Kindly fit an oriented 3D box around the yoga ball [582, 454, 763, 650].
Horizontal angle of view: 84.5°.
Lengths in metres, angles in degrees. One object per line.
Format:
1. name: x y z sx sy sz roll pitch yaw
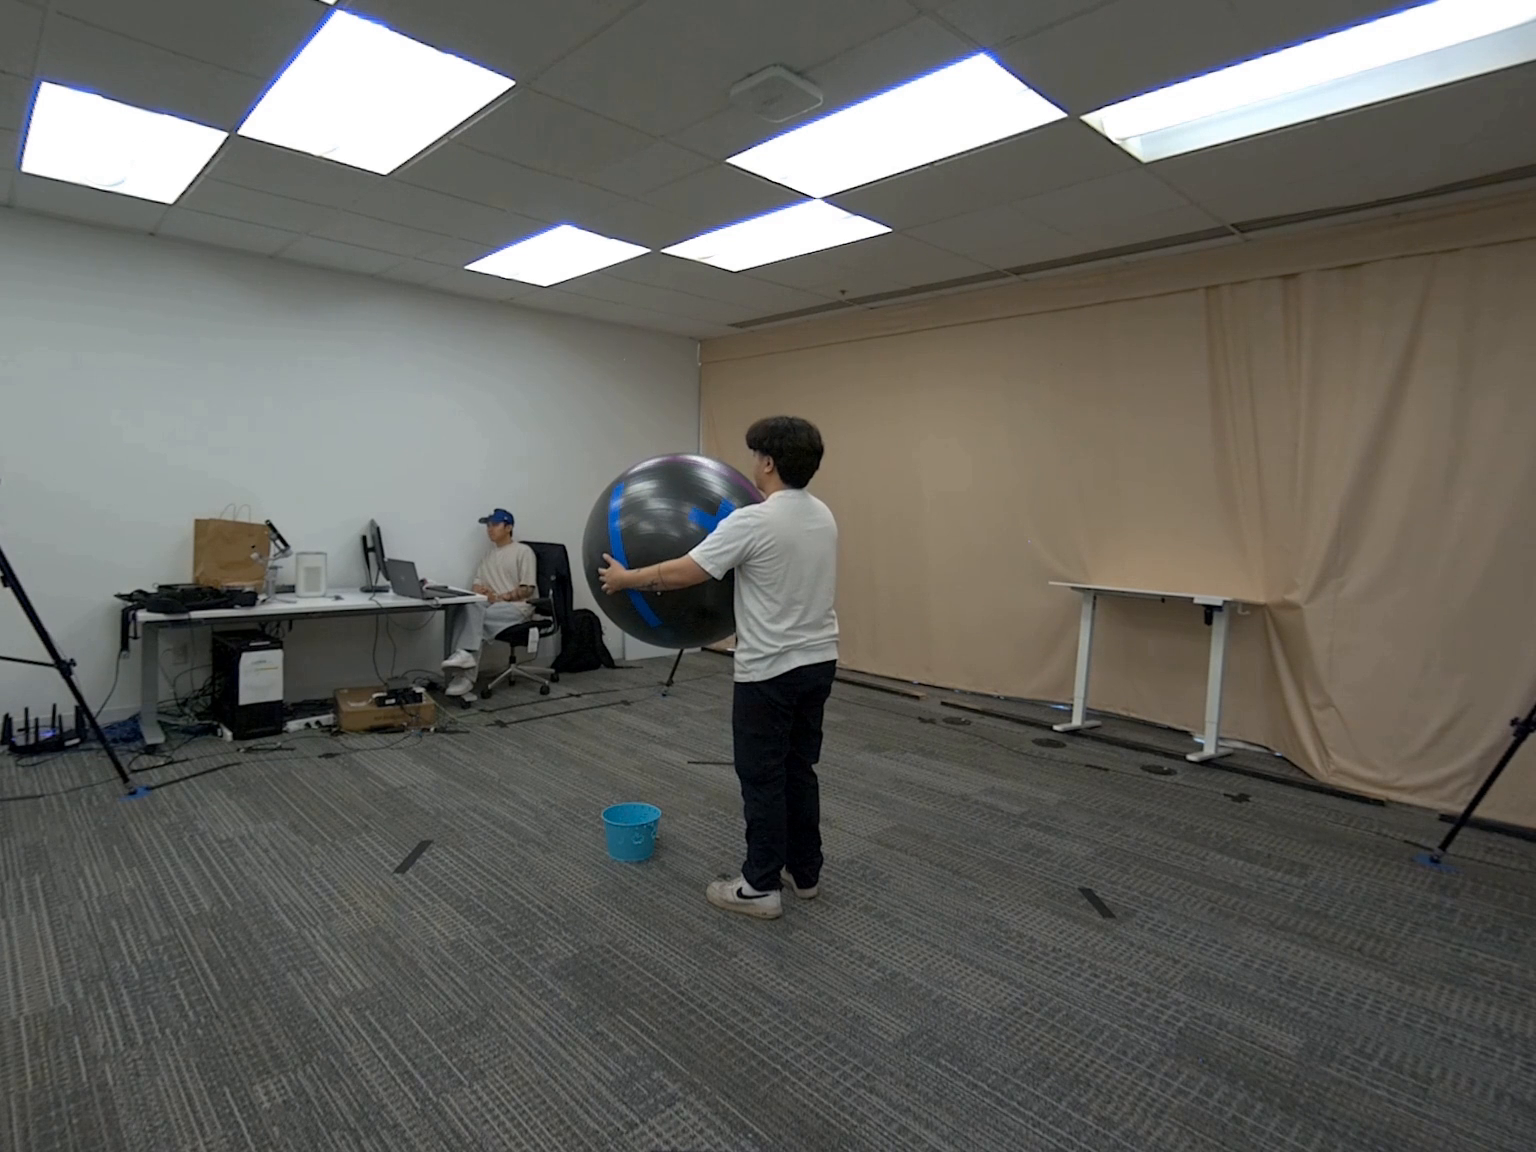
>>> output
1. yoga ball: -0.344 -0.091 3.276 0.757 0.756 0.760 1 4 -1
